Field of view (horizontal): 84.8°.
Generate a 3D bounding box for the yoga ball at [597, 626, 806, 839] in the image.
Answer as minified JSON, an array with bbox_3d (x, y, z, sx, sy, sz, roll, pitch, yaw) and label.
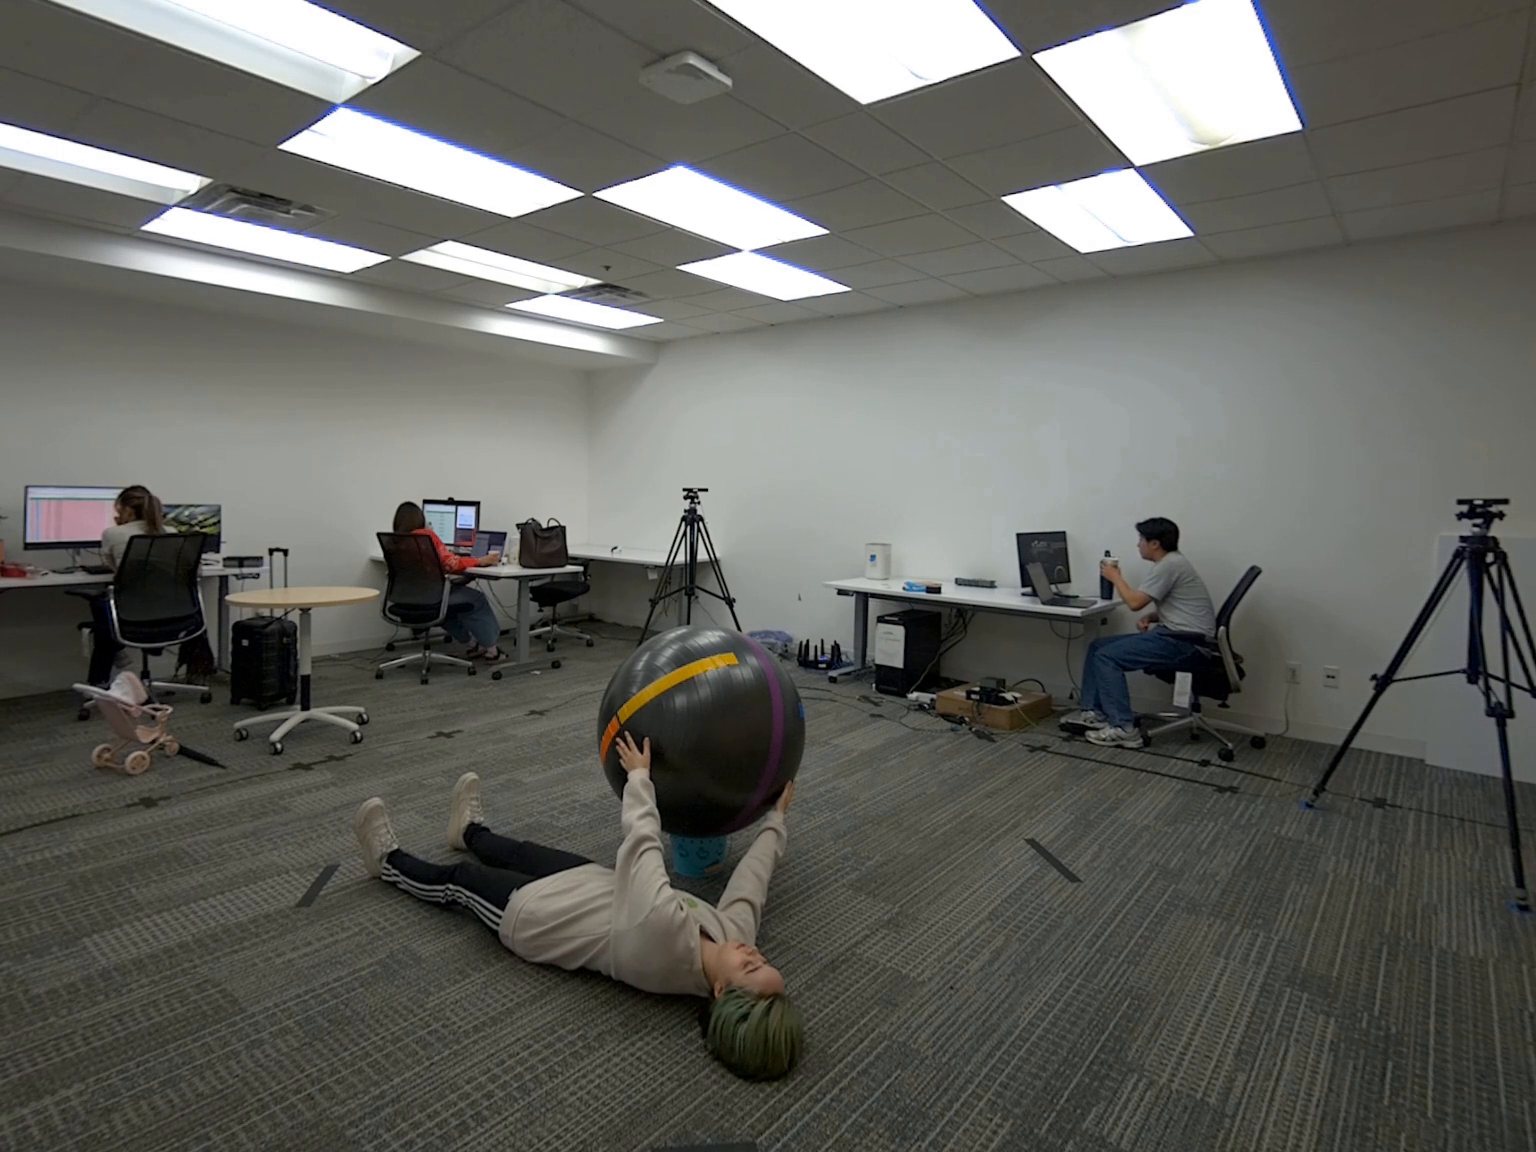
[{"bbox_3d":[-0.253,0.555,3.107,0.757,0.755,0.762,1,4,-2],"label":"yoga ball"}]
